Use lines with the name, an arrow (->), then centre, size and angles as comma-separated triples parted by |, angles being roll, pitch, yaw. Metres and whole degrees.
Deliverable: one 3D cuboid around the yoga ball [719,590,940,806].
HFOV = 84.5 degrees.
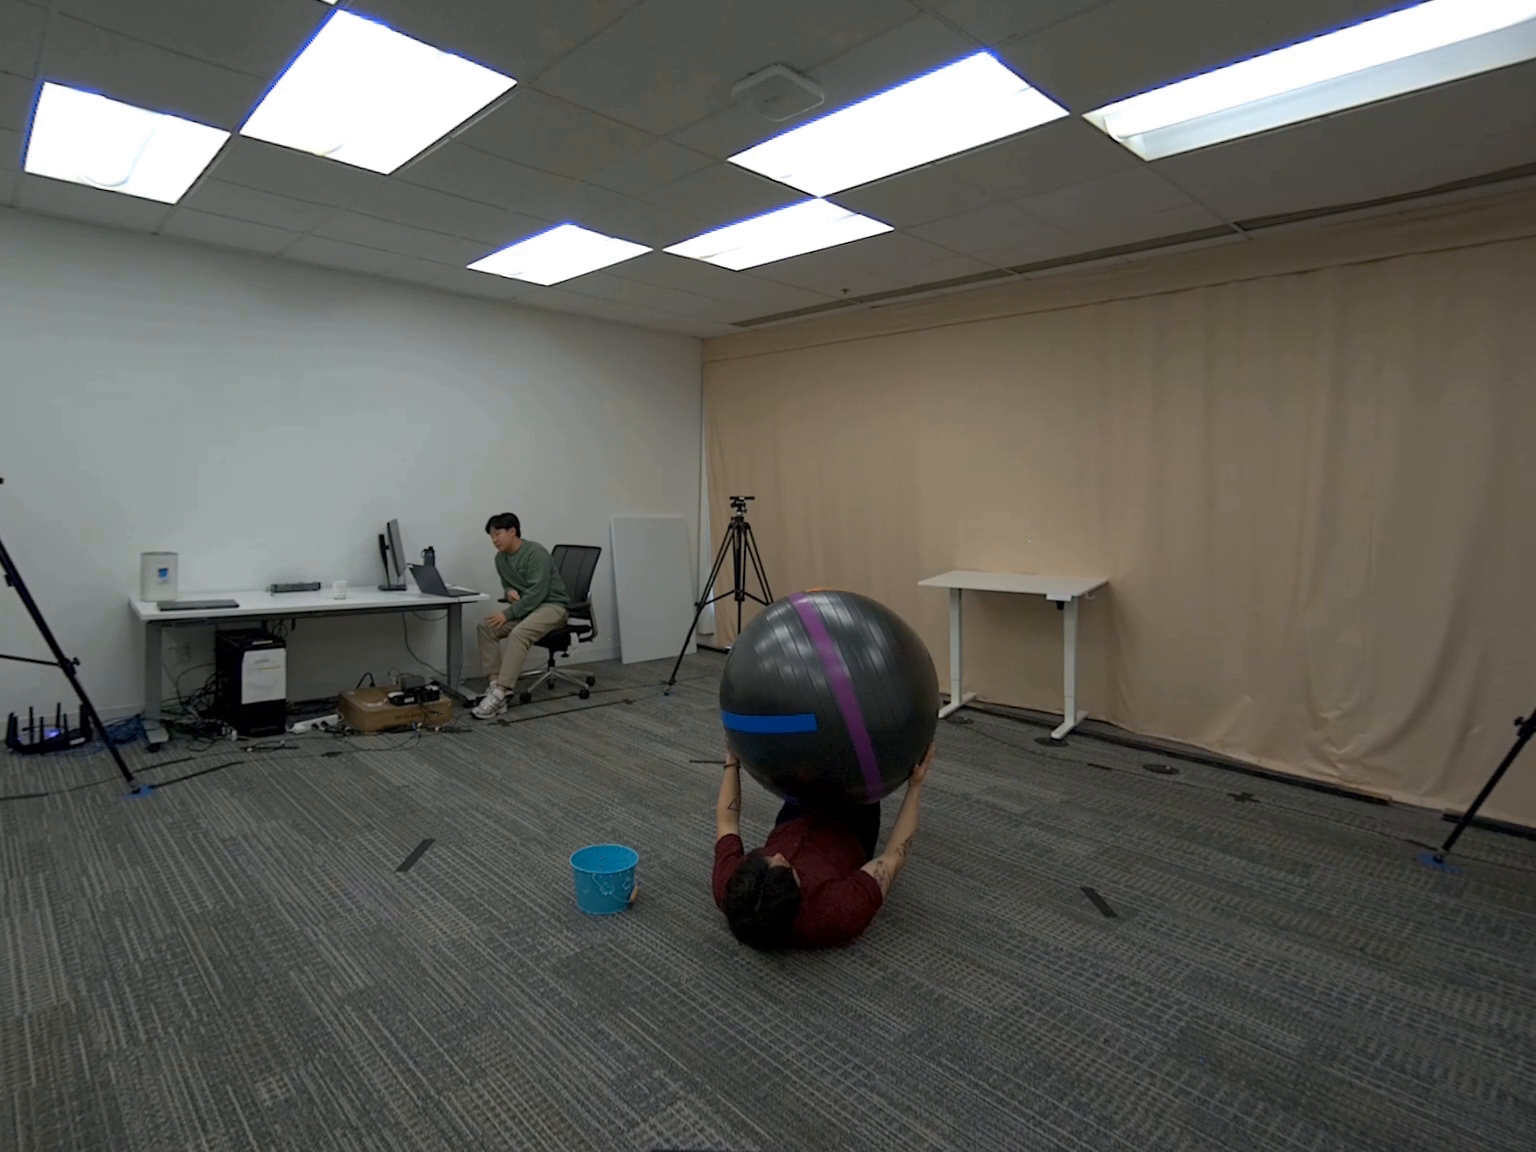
yoga ball -> 0.208, 0.428, 2.952 | 0.757, 0.756, 0.761 | 1, 4, -1
